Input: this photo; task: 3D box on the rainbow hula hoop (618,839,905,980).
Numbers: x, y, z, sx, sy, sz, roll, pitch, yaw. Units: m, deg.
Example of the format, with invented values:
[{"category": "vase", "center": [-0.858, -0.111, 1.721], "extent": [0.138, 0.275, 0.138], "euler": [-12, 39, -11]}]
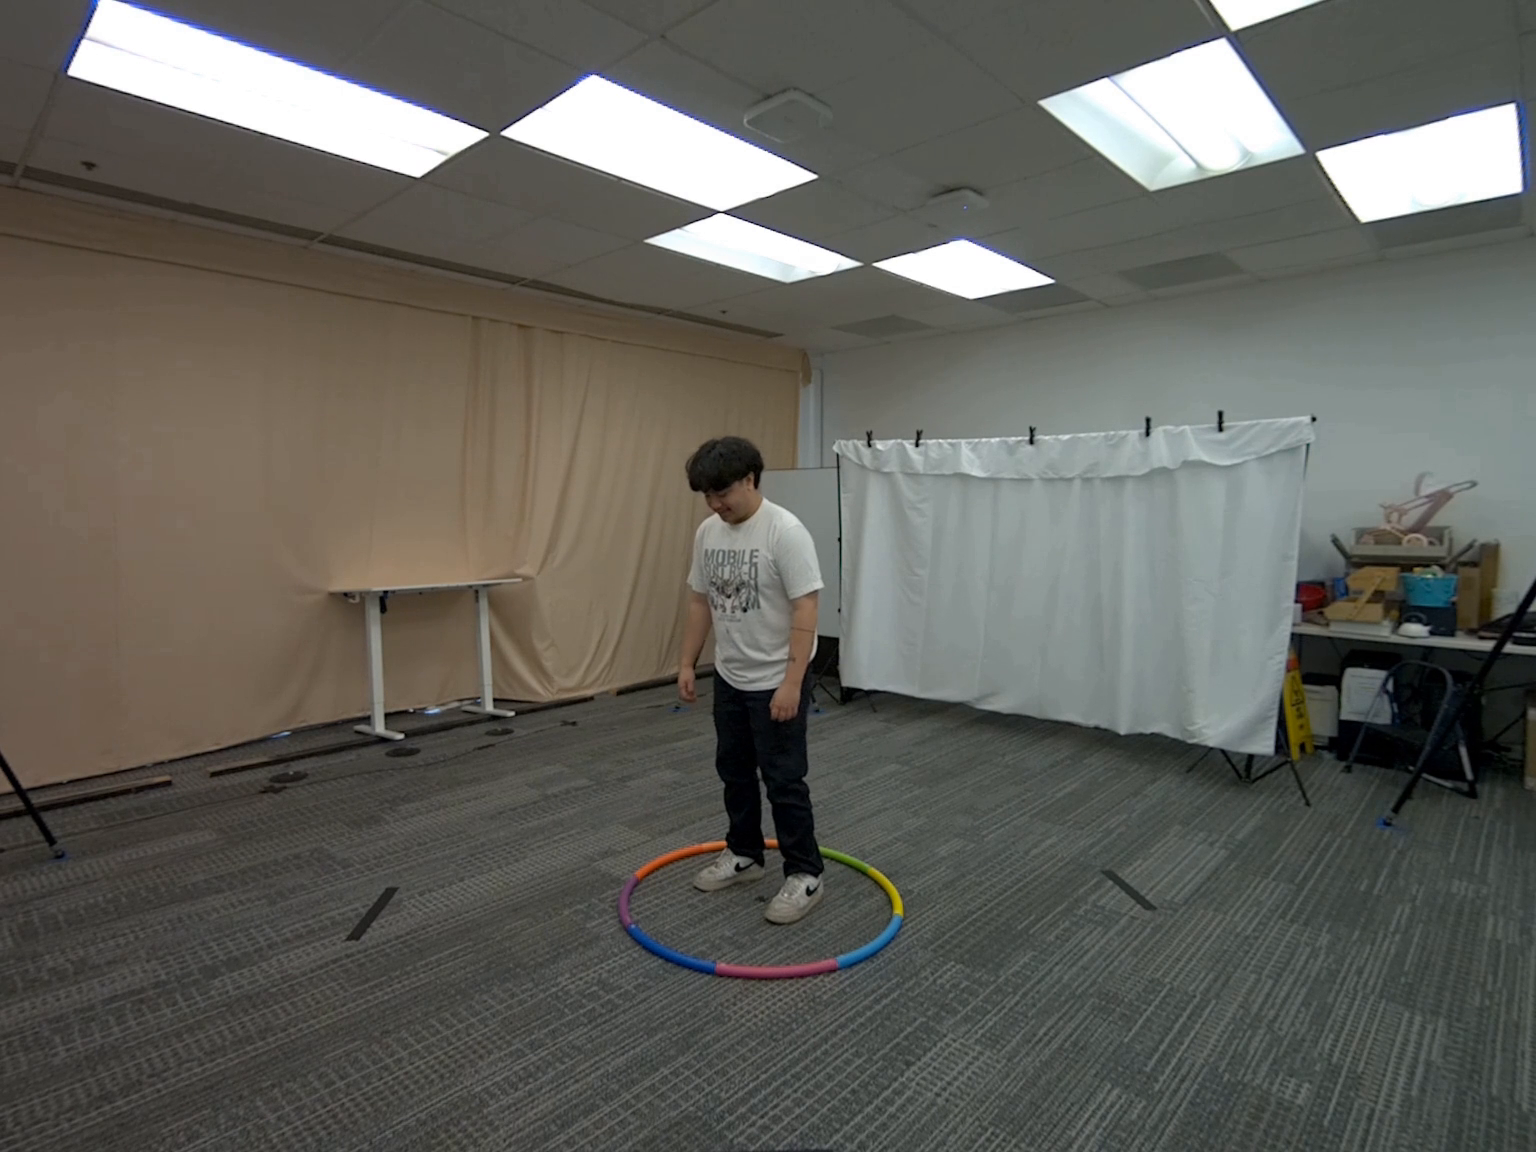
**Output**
[{"category": "rainbow hula hoop", "center": [-0.028, 1.123, 2.955], "extent": [0.985, 0.051, 0.989], "euler": [0, 5, -2]}]
